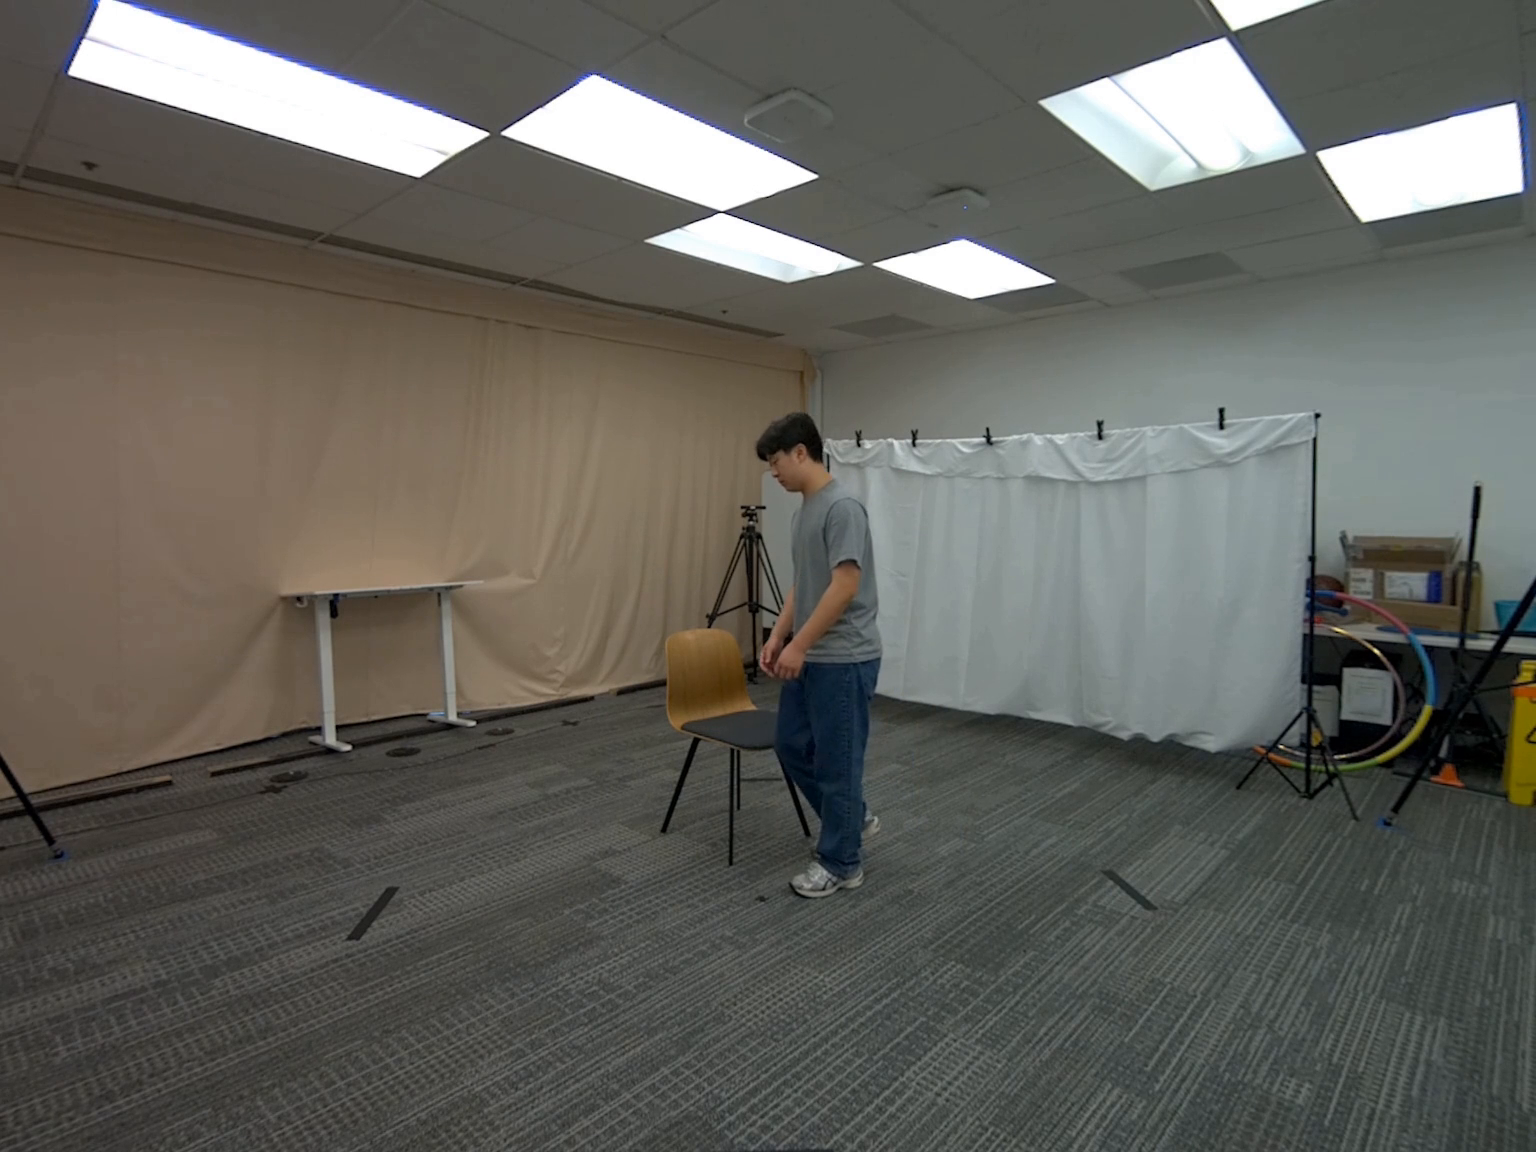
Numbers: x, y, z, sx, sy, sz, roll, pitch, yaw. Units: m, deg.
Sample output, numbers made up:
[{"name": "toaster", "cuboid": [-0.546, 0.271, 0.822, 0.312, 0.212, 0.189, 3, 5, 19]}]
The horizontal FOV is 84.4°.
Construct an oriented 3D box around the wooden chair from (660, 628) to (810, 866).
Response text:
[{"name": "wooden chair", "cuboid": [-0.137, 0.671, 3.535, 0.463, 0.878, 0.539, -3, 0, -42]}]
